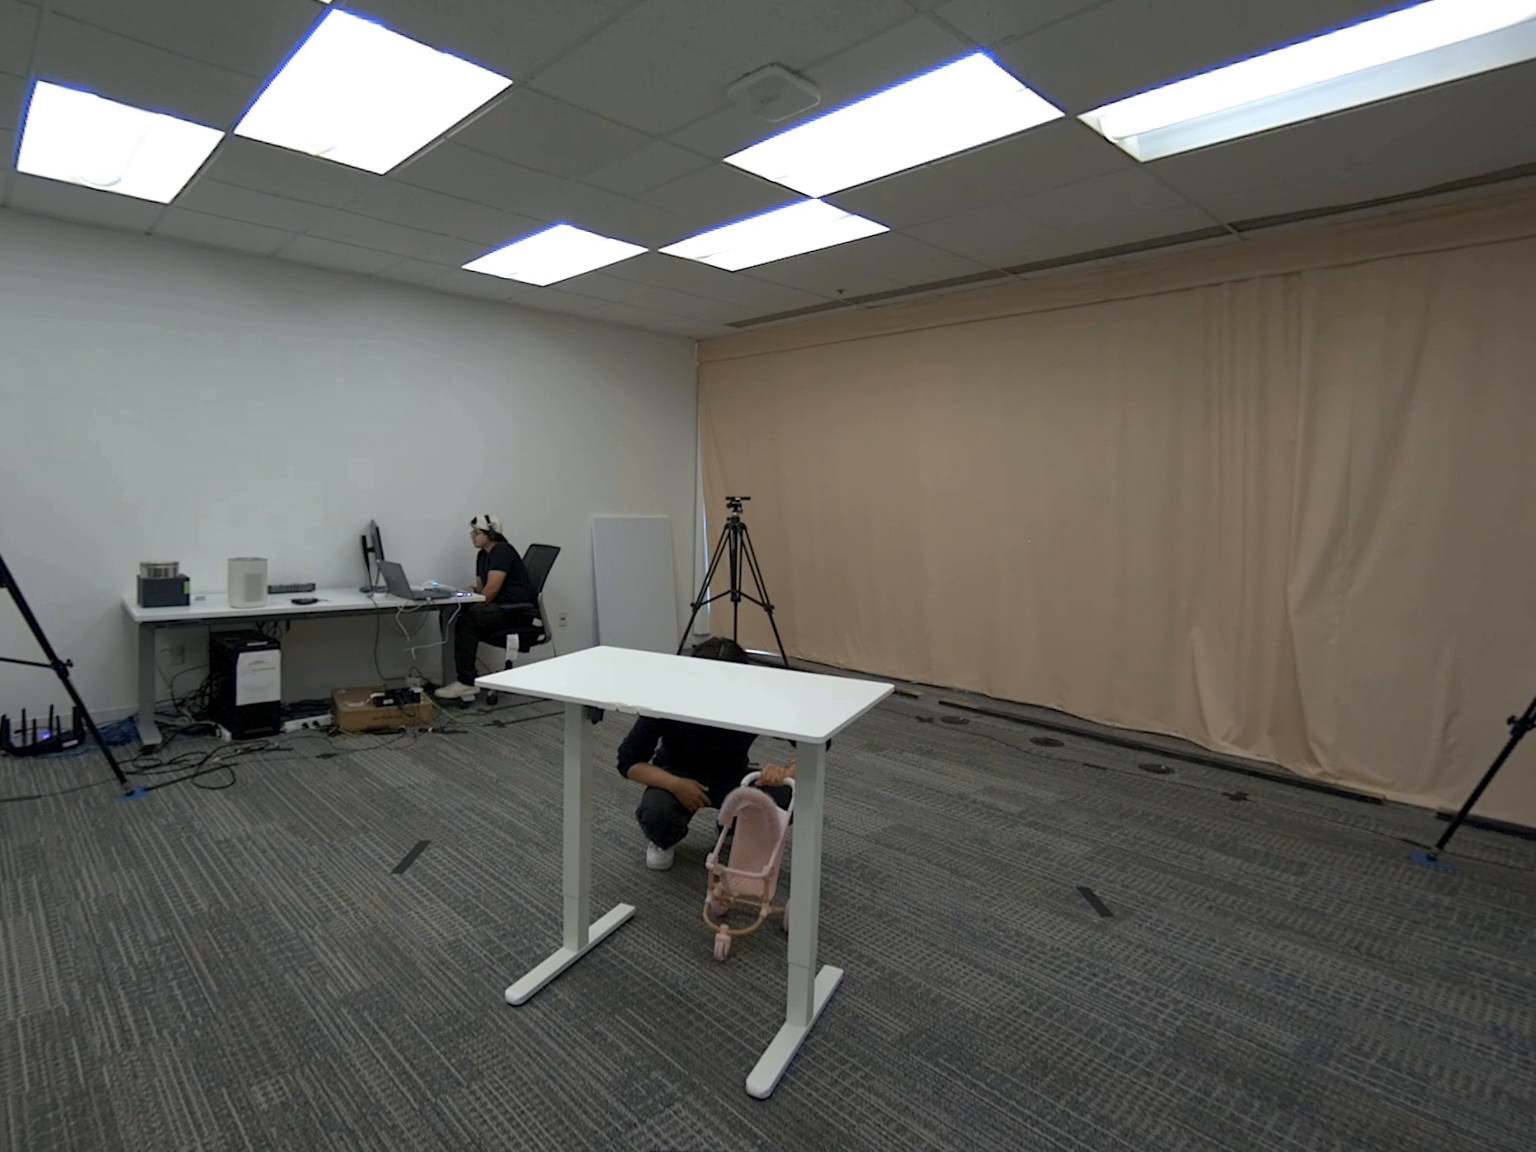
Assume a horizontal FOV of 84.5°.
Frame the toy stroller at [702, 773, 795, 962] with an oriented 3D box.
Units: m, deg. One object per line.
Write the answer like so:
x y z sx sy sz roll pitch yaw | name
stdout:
-0.074 0.920 2.691 0.287 0.538 0.332 3 -10 26 | toy stroller
